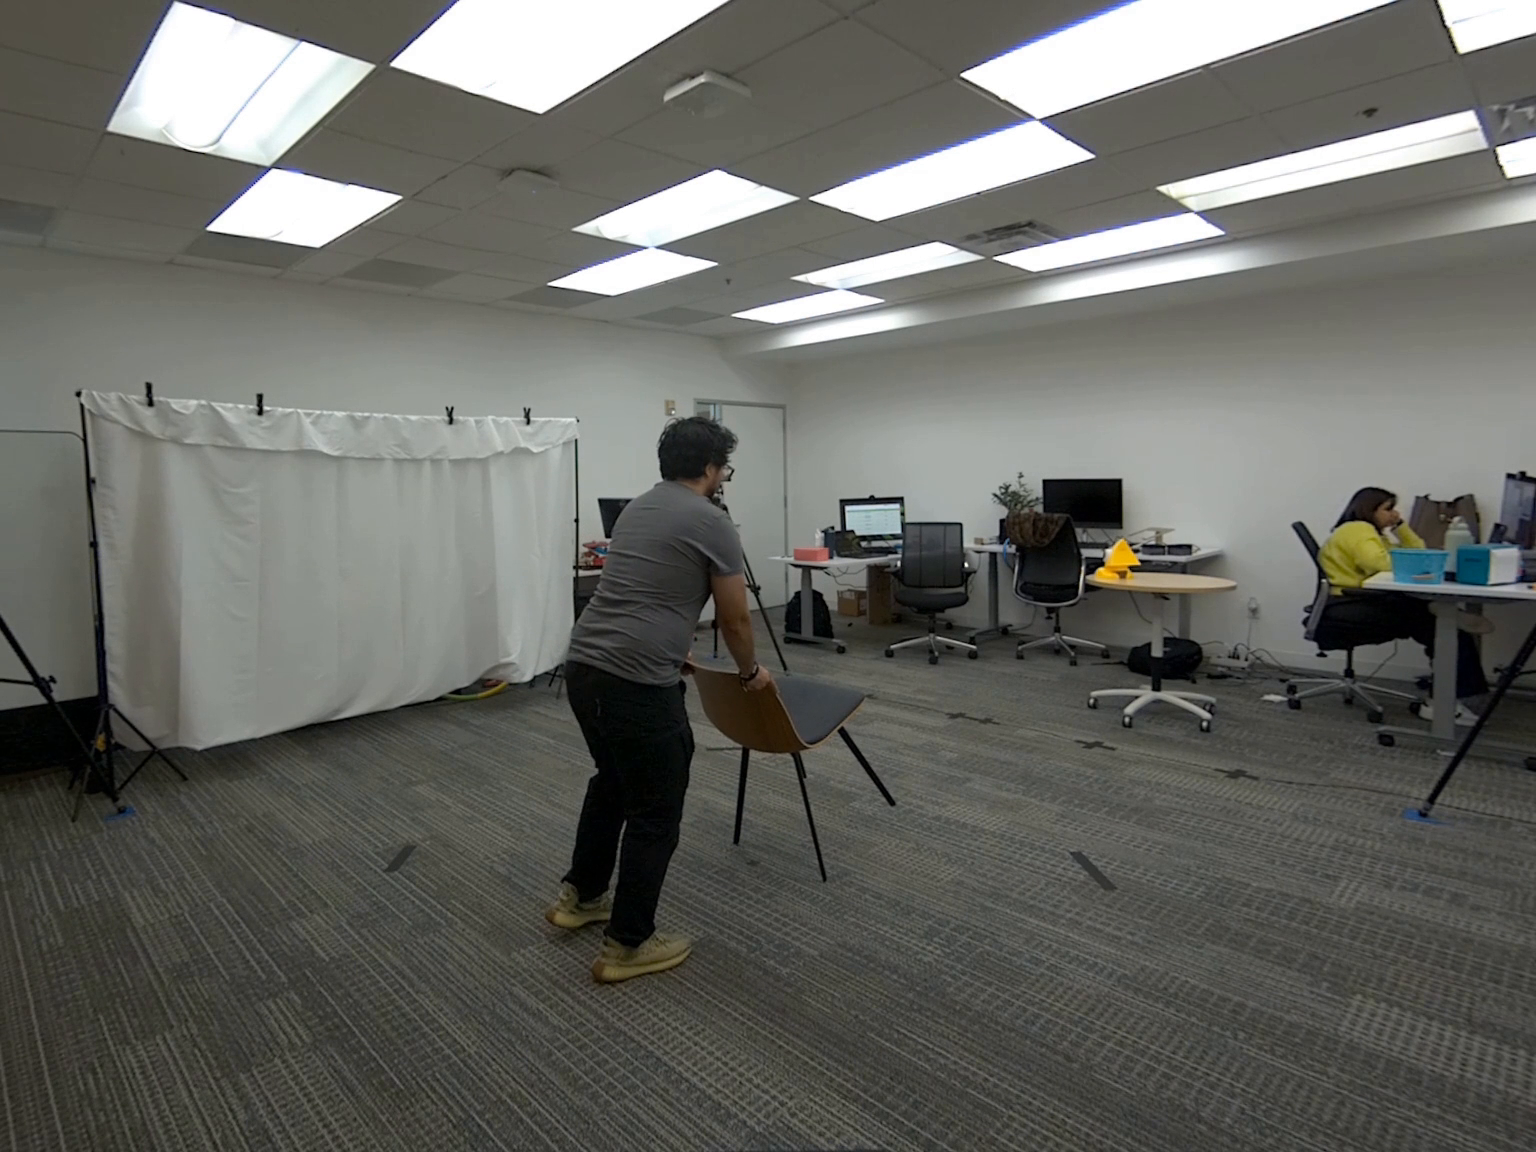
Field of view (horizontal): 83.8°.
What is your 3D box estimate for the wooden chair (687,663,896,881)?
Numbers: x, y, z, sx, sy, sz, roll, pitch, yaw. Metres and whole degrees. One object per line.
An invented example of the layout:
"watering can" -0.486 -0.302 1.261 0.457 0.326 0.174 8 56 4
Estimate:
"wooden chair" 0.079 0.555 3.130 0.493 0.857 0.519 3 30 45
